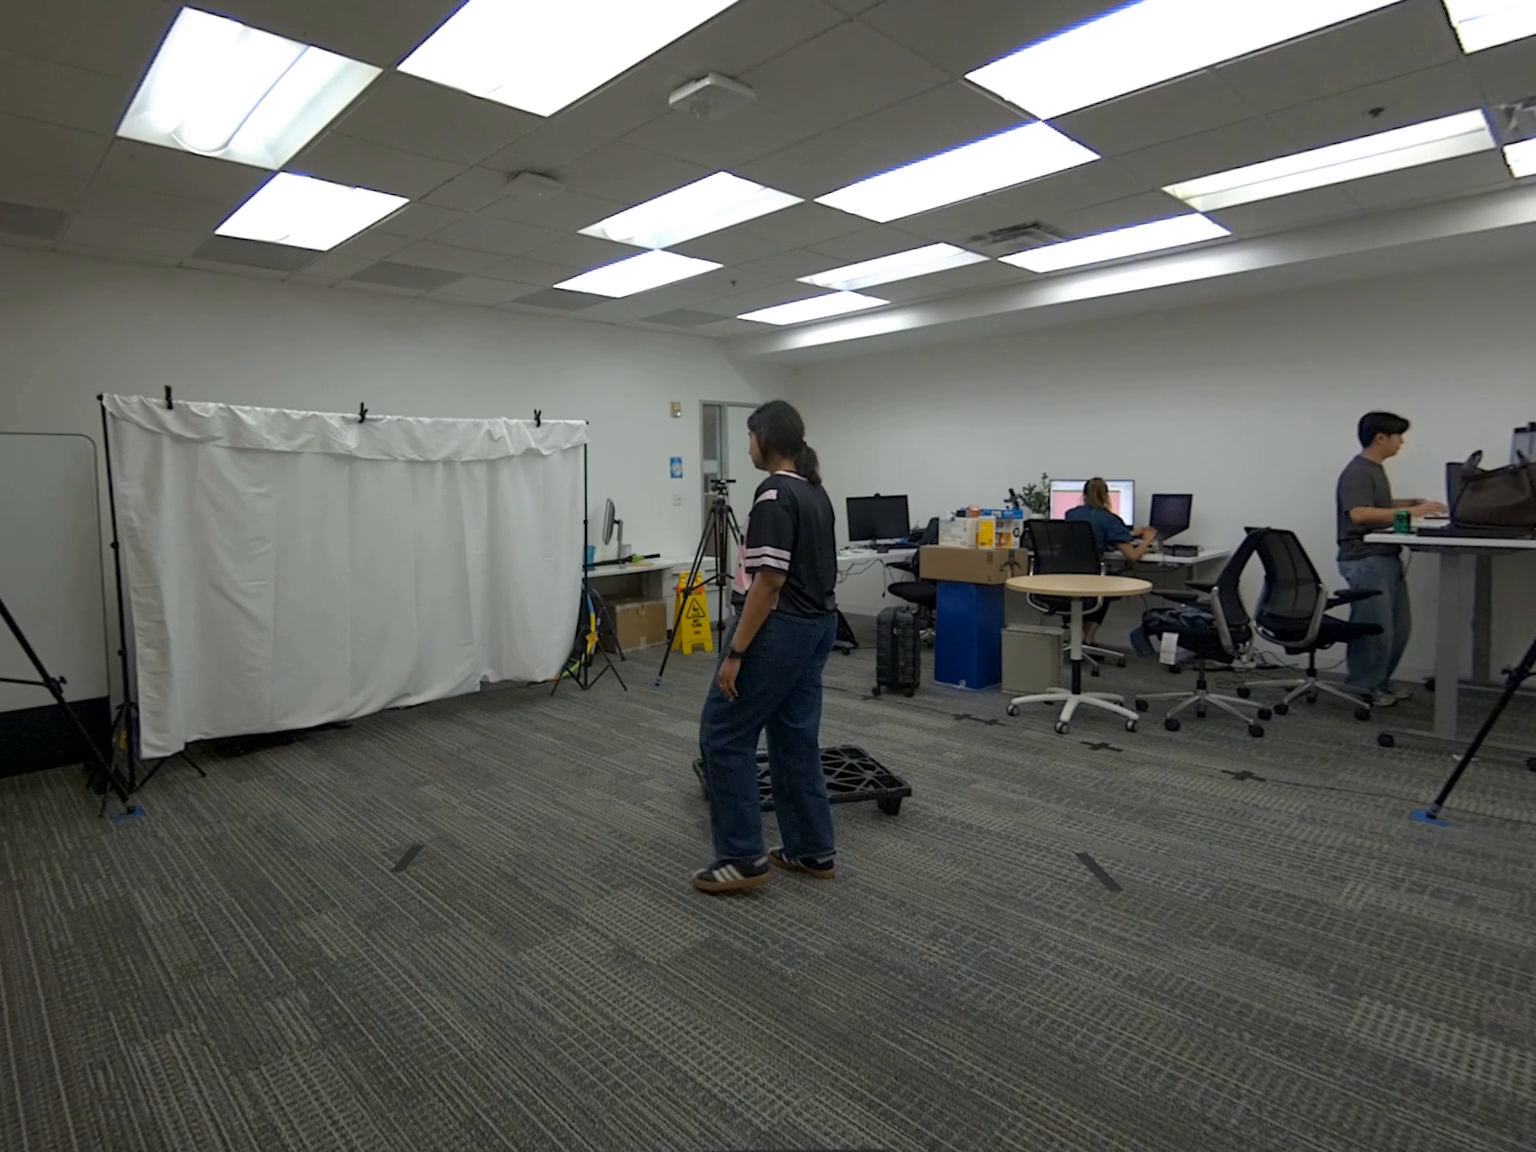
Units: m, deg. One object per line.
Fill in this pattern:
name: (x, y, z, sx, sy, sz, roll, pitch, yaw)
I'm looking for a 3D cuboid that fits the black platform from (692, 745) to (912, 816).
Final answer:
black platform: (0.124, 0.914, 3.679, 0.795, 0.143, 0.615, -2, 5, -15)
